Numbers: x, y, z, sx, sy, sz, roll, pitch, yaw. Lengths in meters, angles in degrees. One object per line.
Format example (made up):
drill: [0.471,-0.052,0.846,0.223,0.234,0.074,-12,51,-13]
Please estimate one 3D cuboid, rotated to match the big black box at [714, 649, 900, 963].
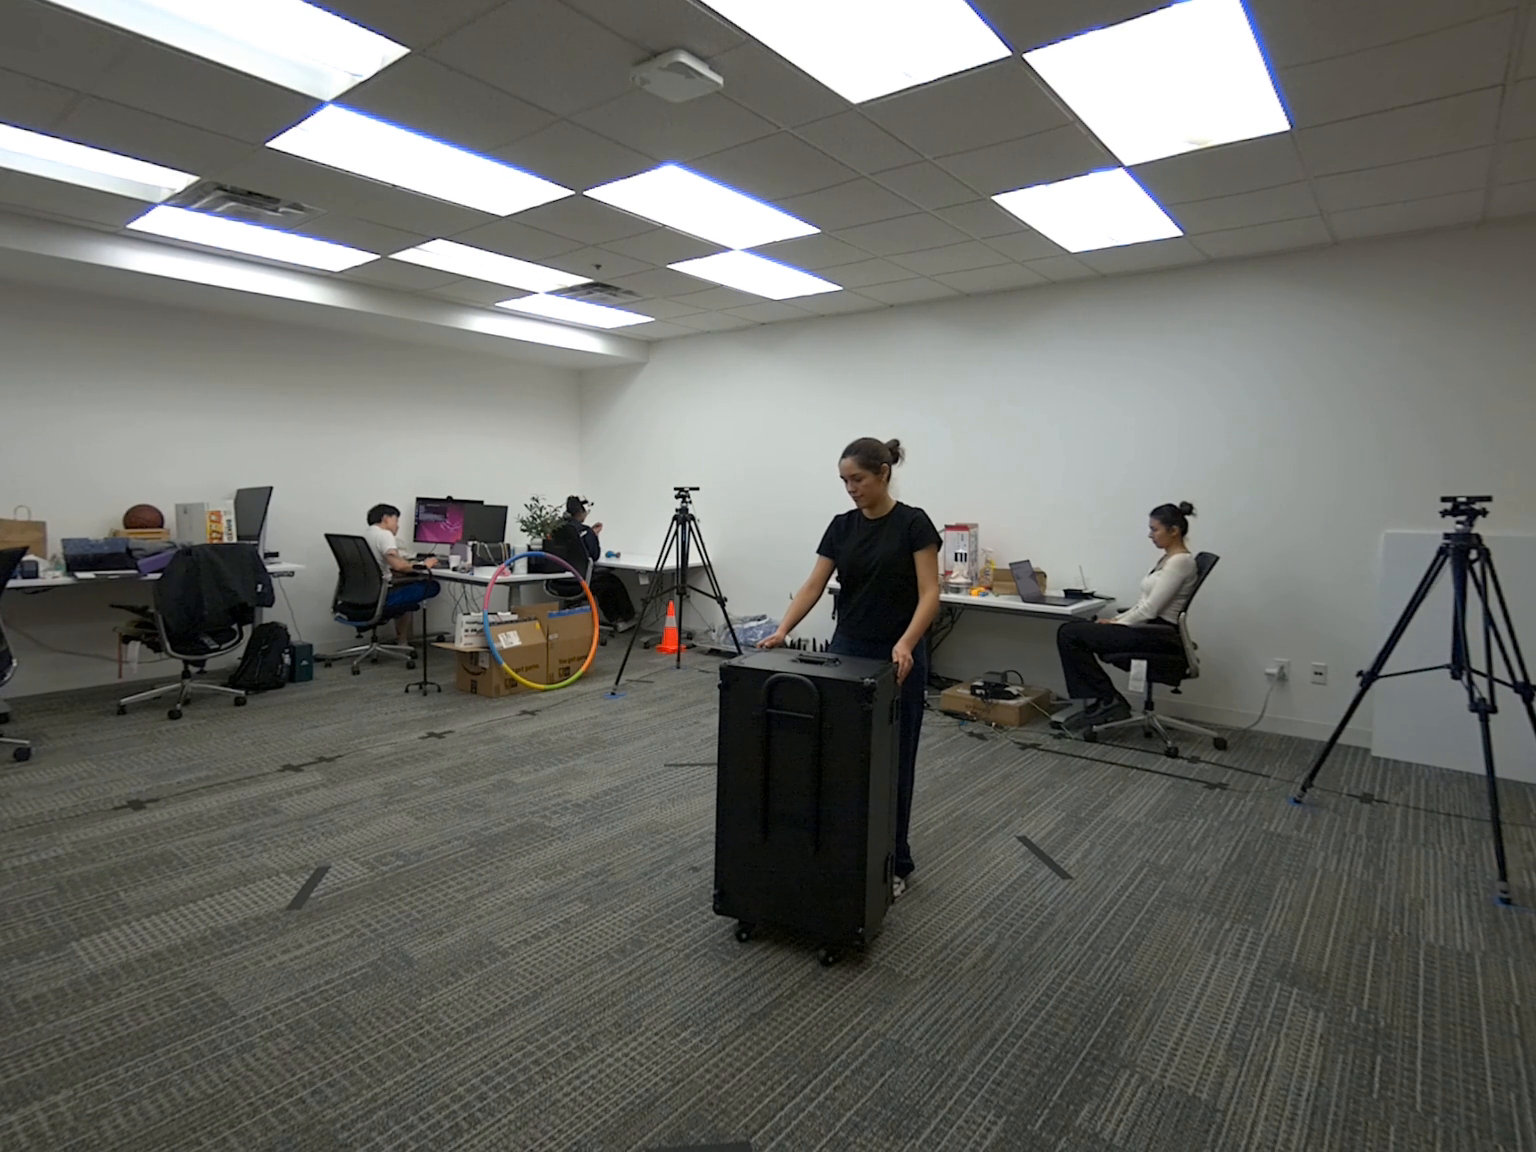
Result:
big black box: [0.138,0.689,2.667,0.535,0.859,0.387,3,4,26]
